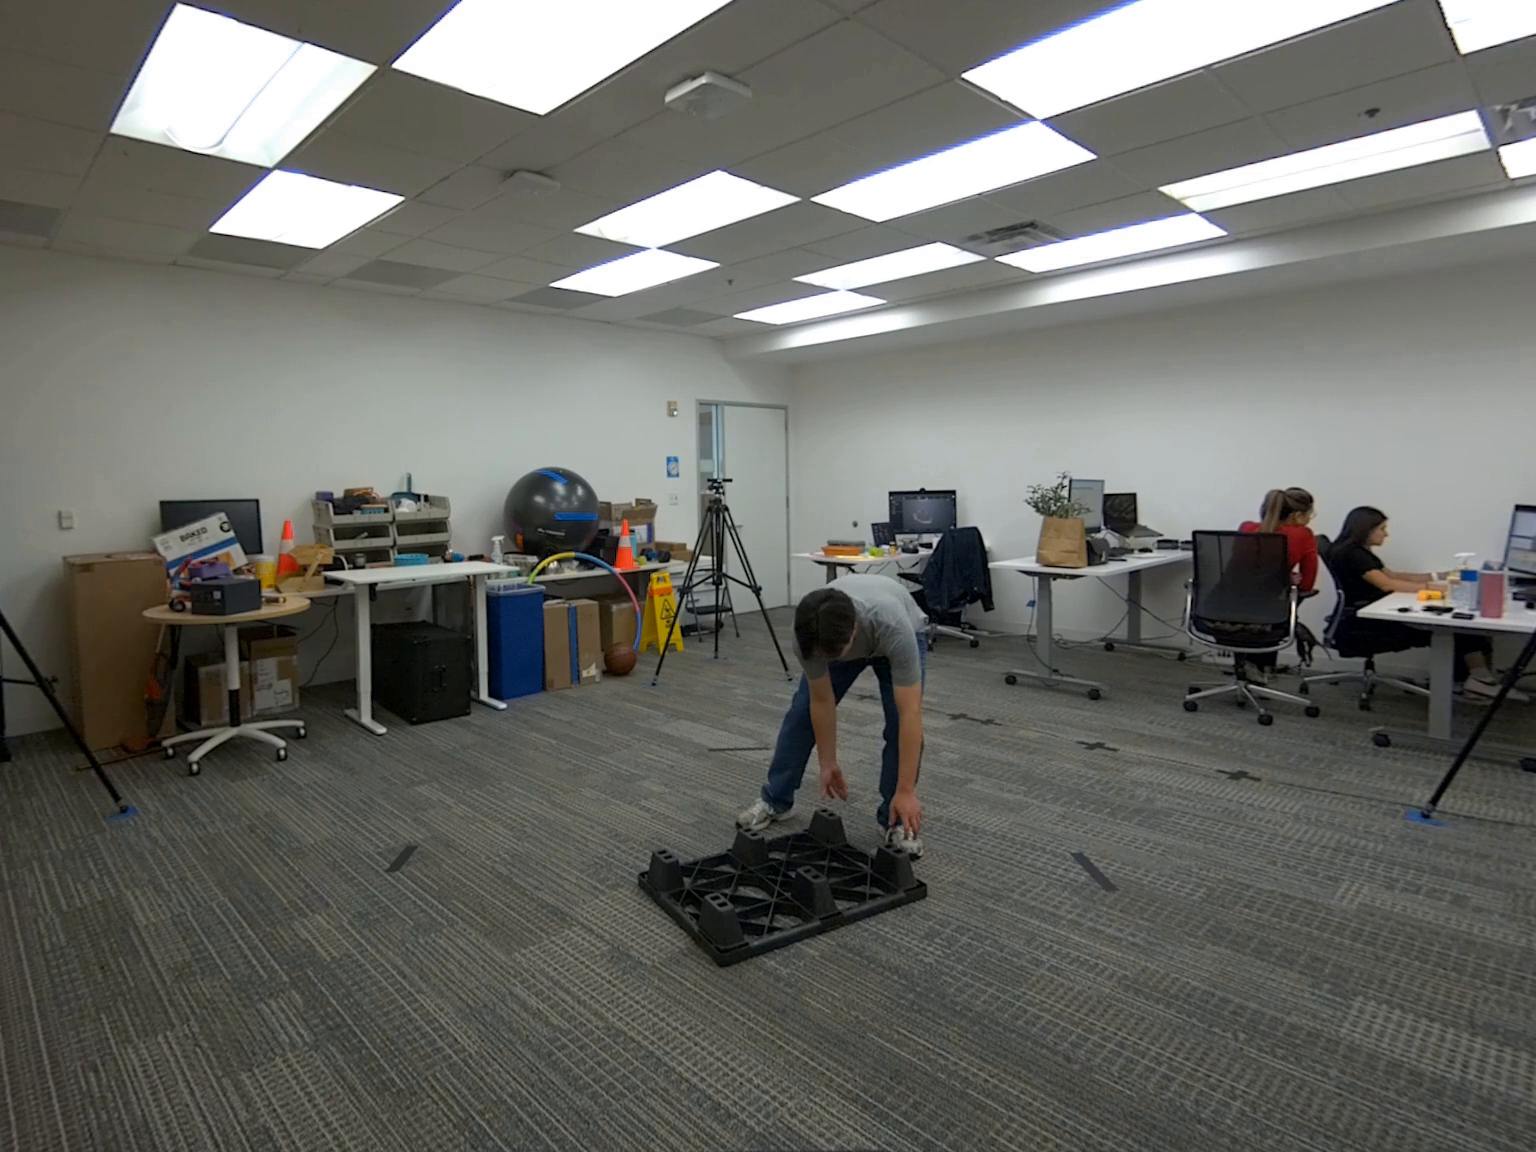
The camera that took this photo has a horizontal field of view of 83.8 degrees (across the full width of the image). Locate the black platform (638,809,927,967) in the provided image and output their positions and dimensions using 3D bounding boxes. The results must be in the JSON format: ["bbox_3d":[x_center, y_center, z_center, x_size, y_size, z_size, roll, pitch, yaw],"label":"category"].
[{"bbox_3d":[0.044,1.001,2.897,0.786,0.143,0.623,-5,7,-32],"label":"black platform"}]
